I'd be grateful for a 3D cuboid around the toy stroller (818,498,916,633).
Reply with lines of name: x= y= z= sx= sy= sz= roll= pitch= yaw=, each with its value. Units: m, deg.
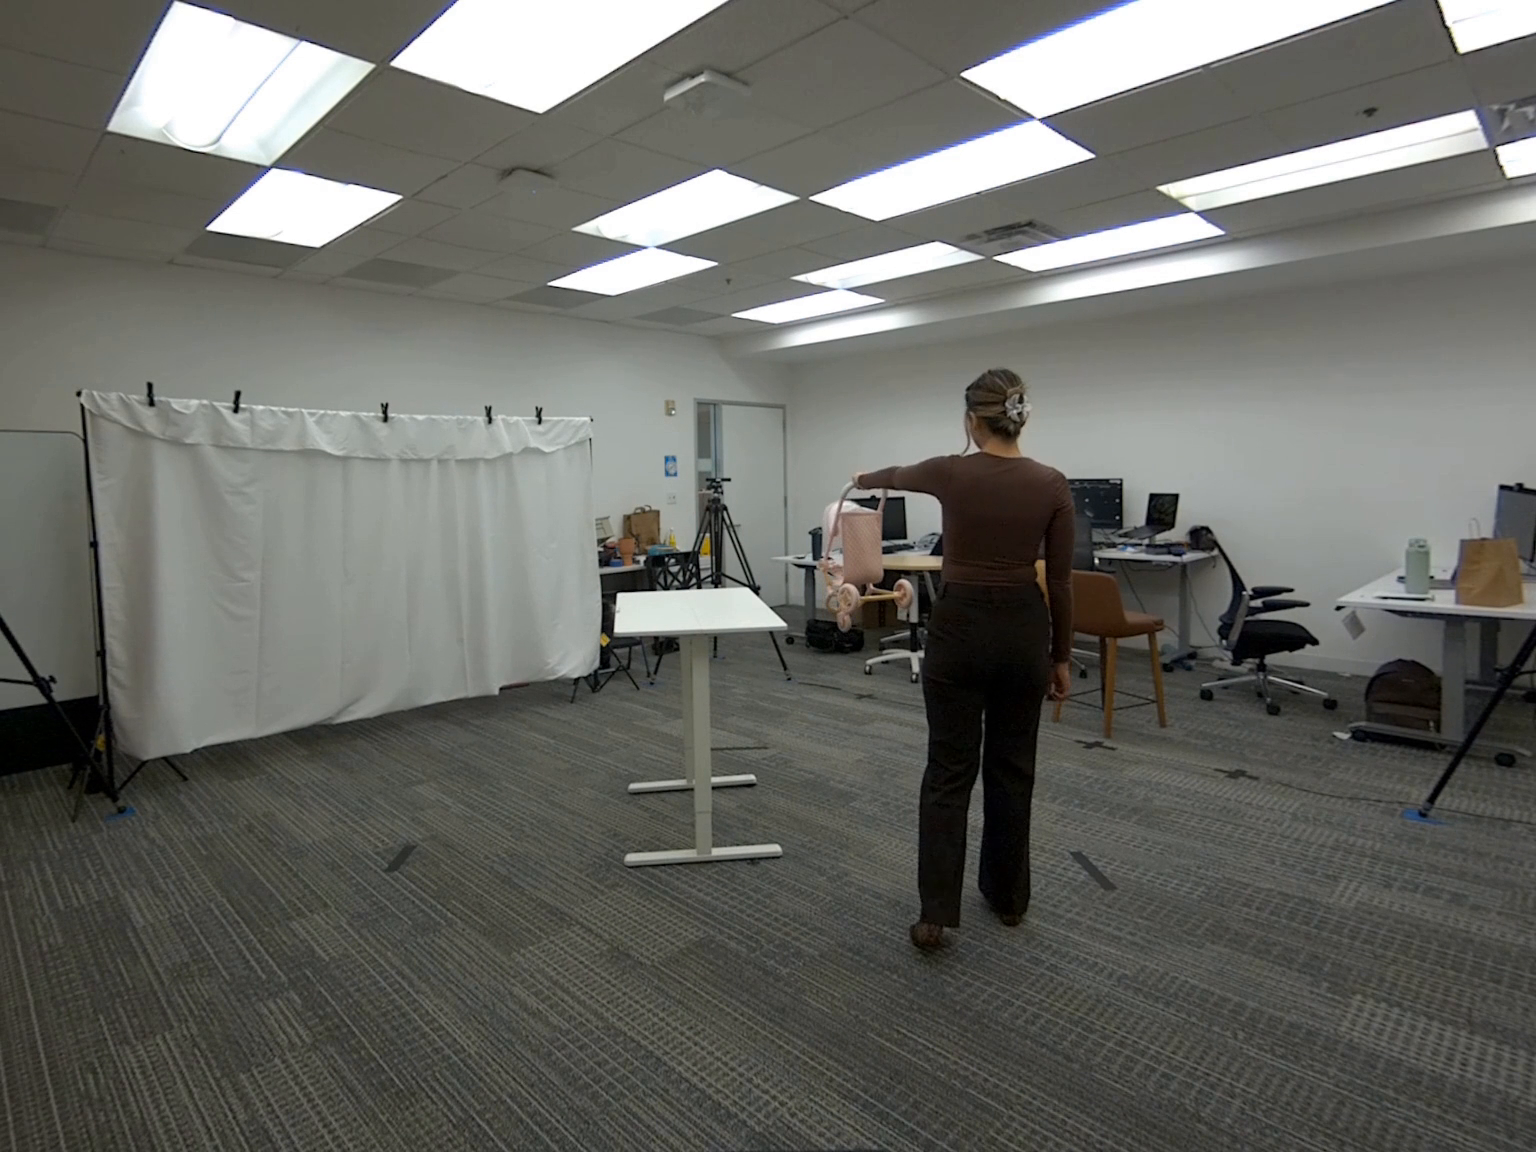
toy stroller: x=0.337 y=-0.062 z=3.271 sx=0.276 sy=0.539 sz=0.345 roll=-5 pitch=-7 yaw=-24
